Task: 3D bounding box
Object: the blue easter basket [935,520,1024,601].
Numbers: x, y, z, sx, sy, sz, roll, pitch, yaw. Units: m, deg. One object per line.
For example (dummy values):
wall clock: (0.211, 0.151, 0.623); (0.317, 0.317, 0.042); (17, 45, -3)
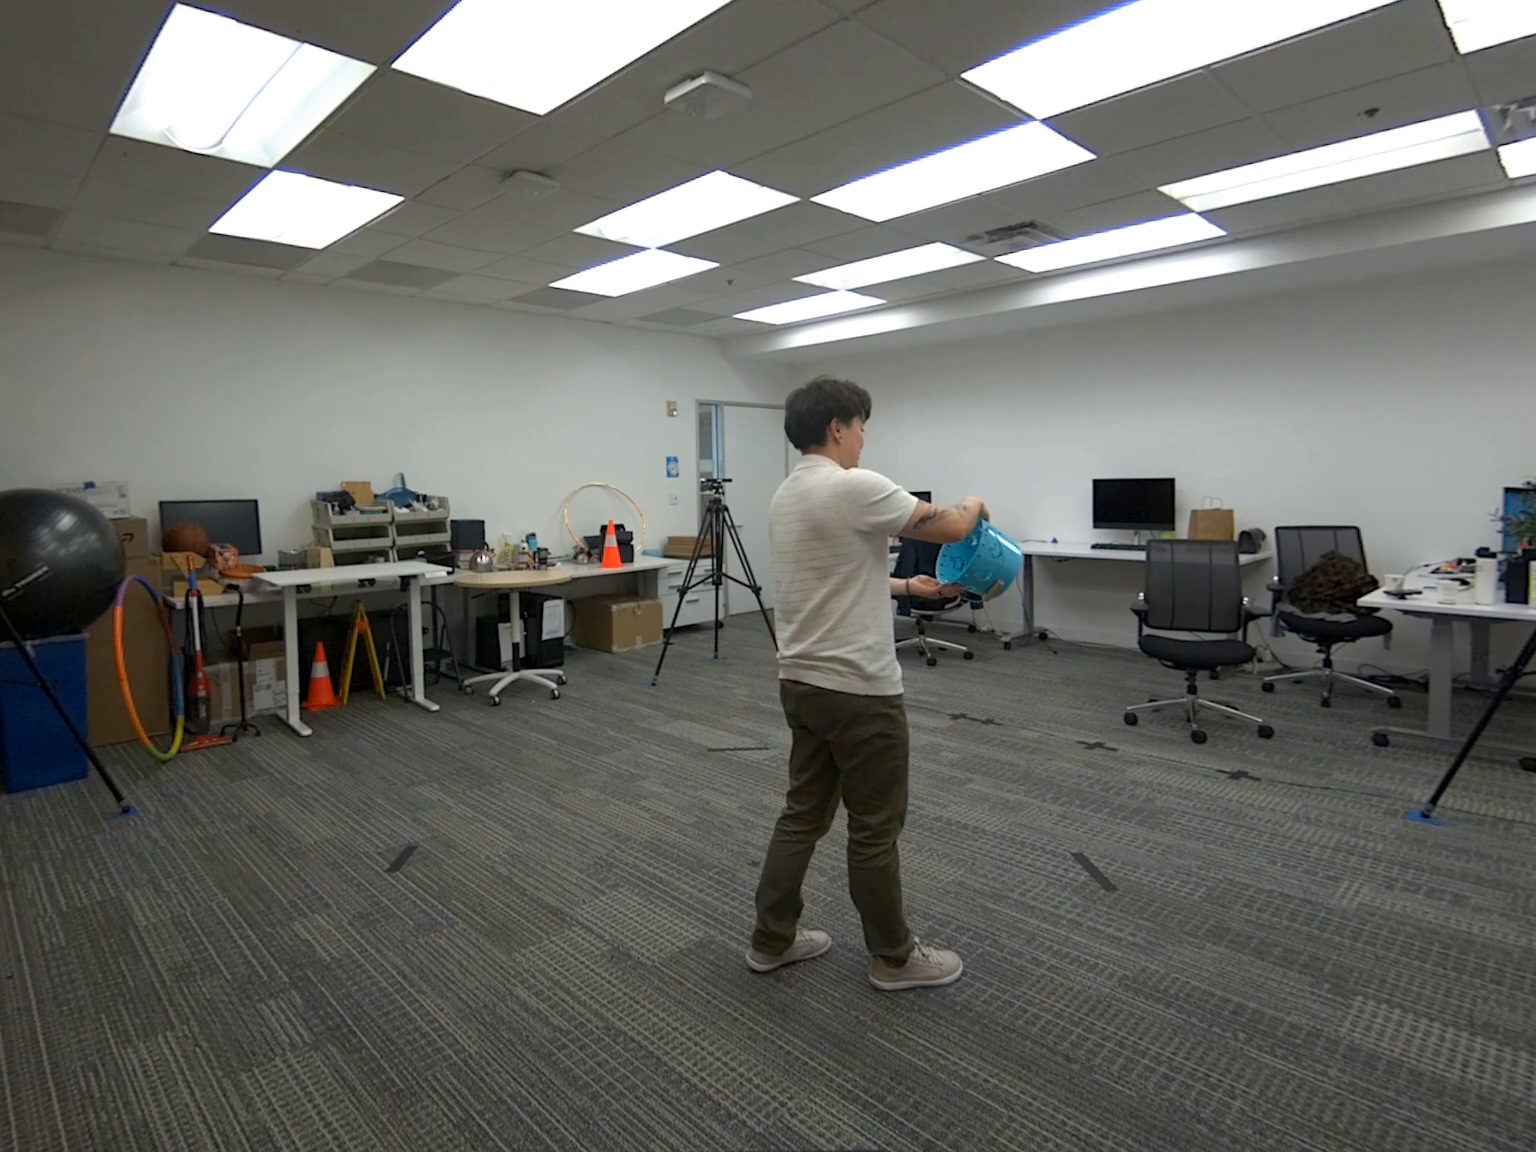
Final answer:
blue easter basket: (0.627, -0.042, 2.501); (0.153, 0.244, 0.248); (24, -2, -15)
